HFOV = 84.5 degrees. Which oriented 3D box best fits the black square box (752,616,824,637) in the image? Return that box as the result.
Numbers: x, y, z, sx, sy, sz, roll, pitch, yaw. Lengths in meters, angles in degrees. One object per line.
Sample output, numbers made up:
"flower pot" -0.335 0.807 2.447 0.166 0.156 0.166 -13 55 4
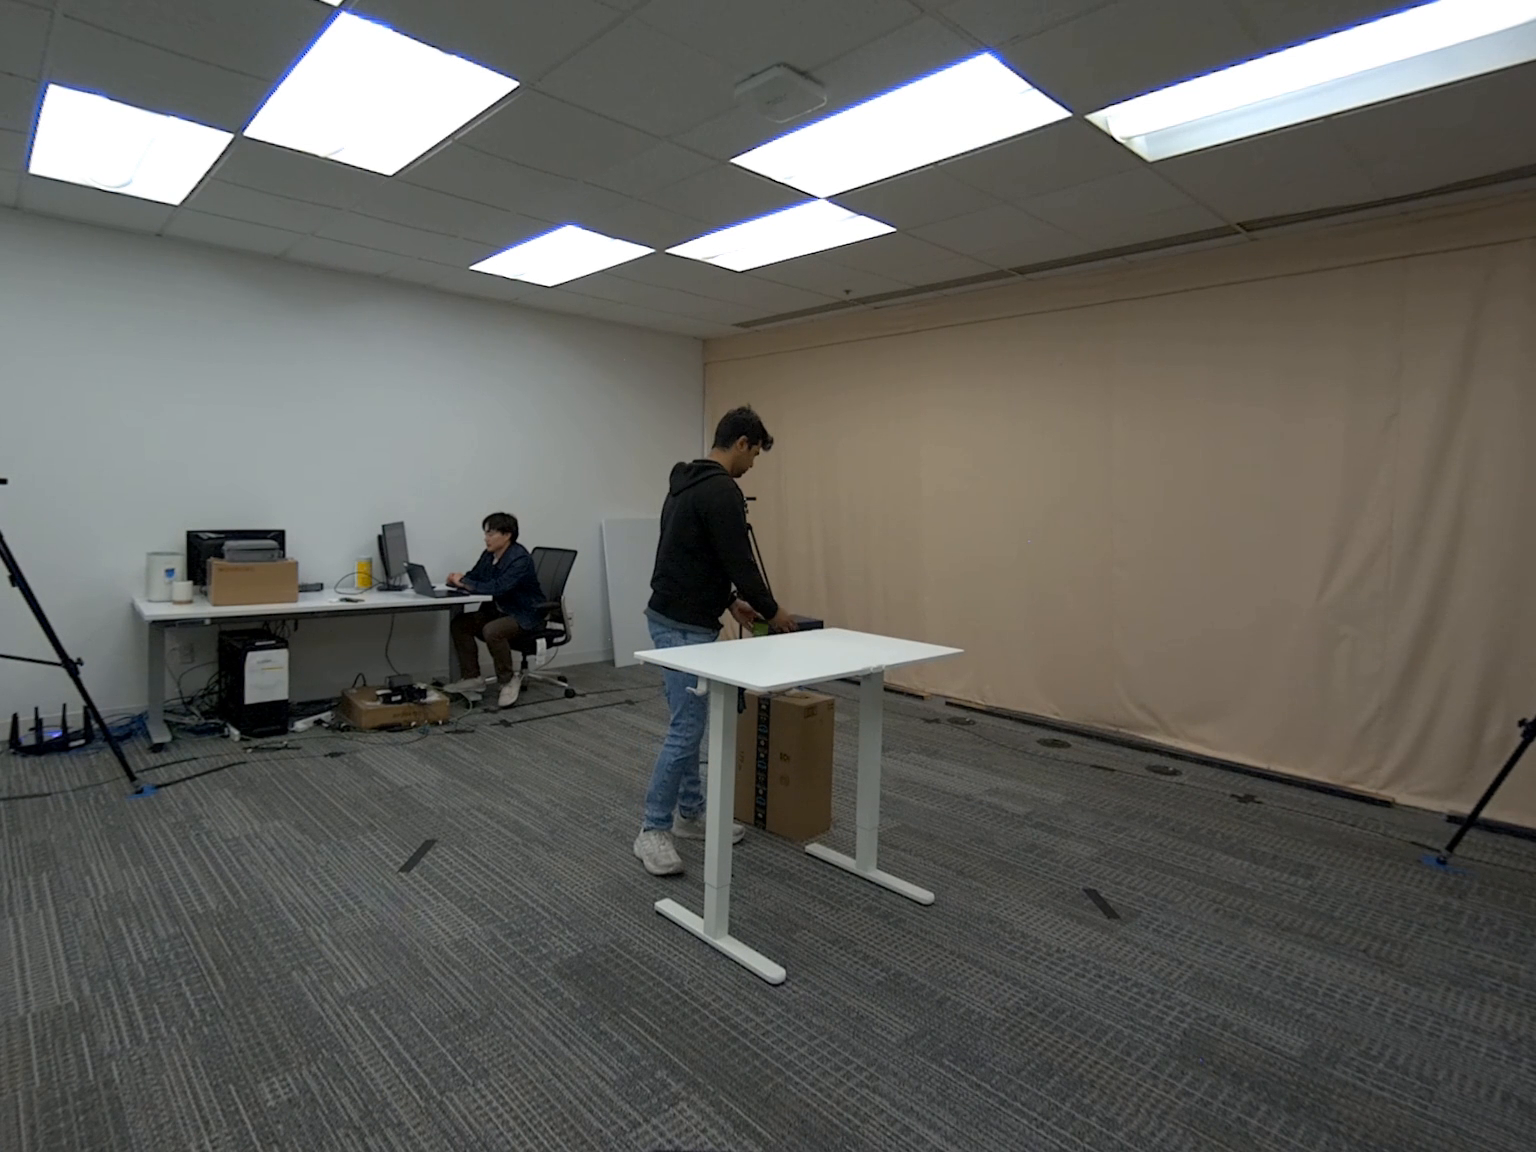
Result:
"black square box" 0.084 0.254 3.594 0.212 0.155 0.233 -2 5 -33
